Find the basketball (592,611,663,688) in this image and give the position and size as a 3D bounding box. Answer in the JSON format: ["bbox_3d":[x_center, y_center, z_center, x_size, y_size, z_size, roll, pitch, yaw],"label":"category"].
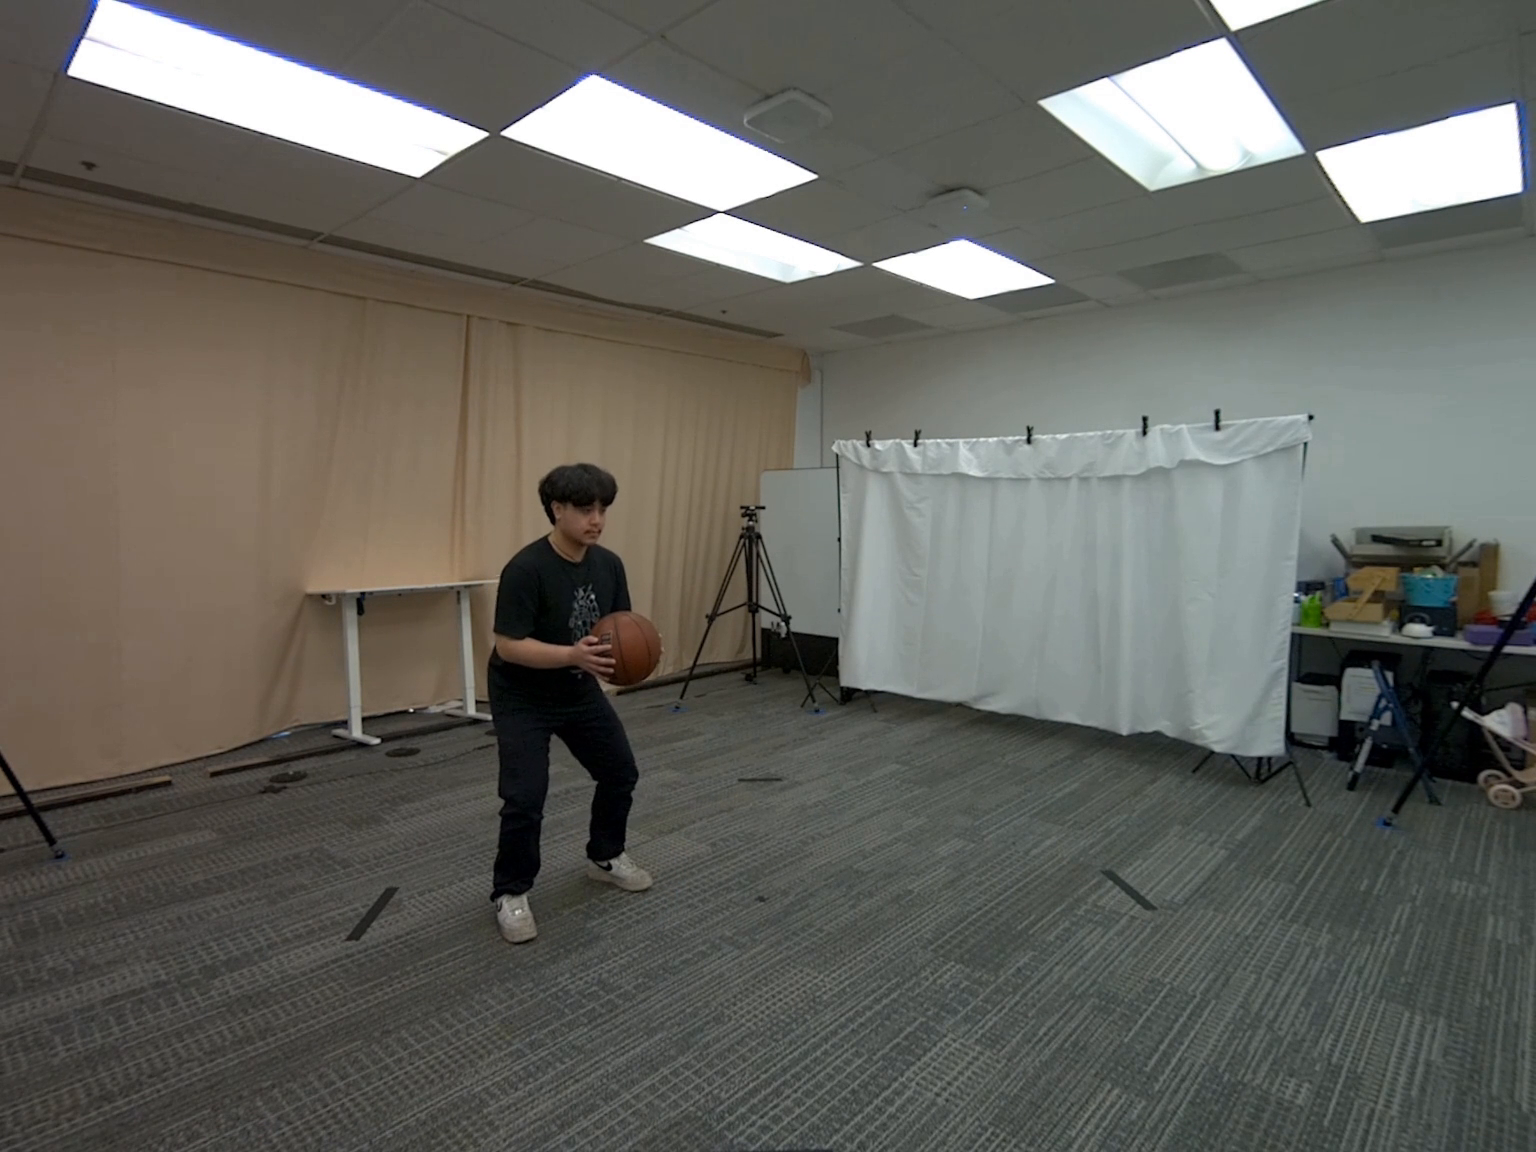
[{"bbox_3d":[-0.463,0.236,2.681,0.236,0.235,0.237,0,4,-2],"label":"basketball"}]
